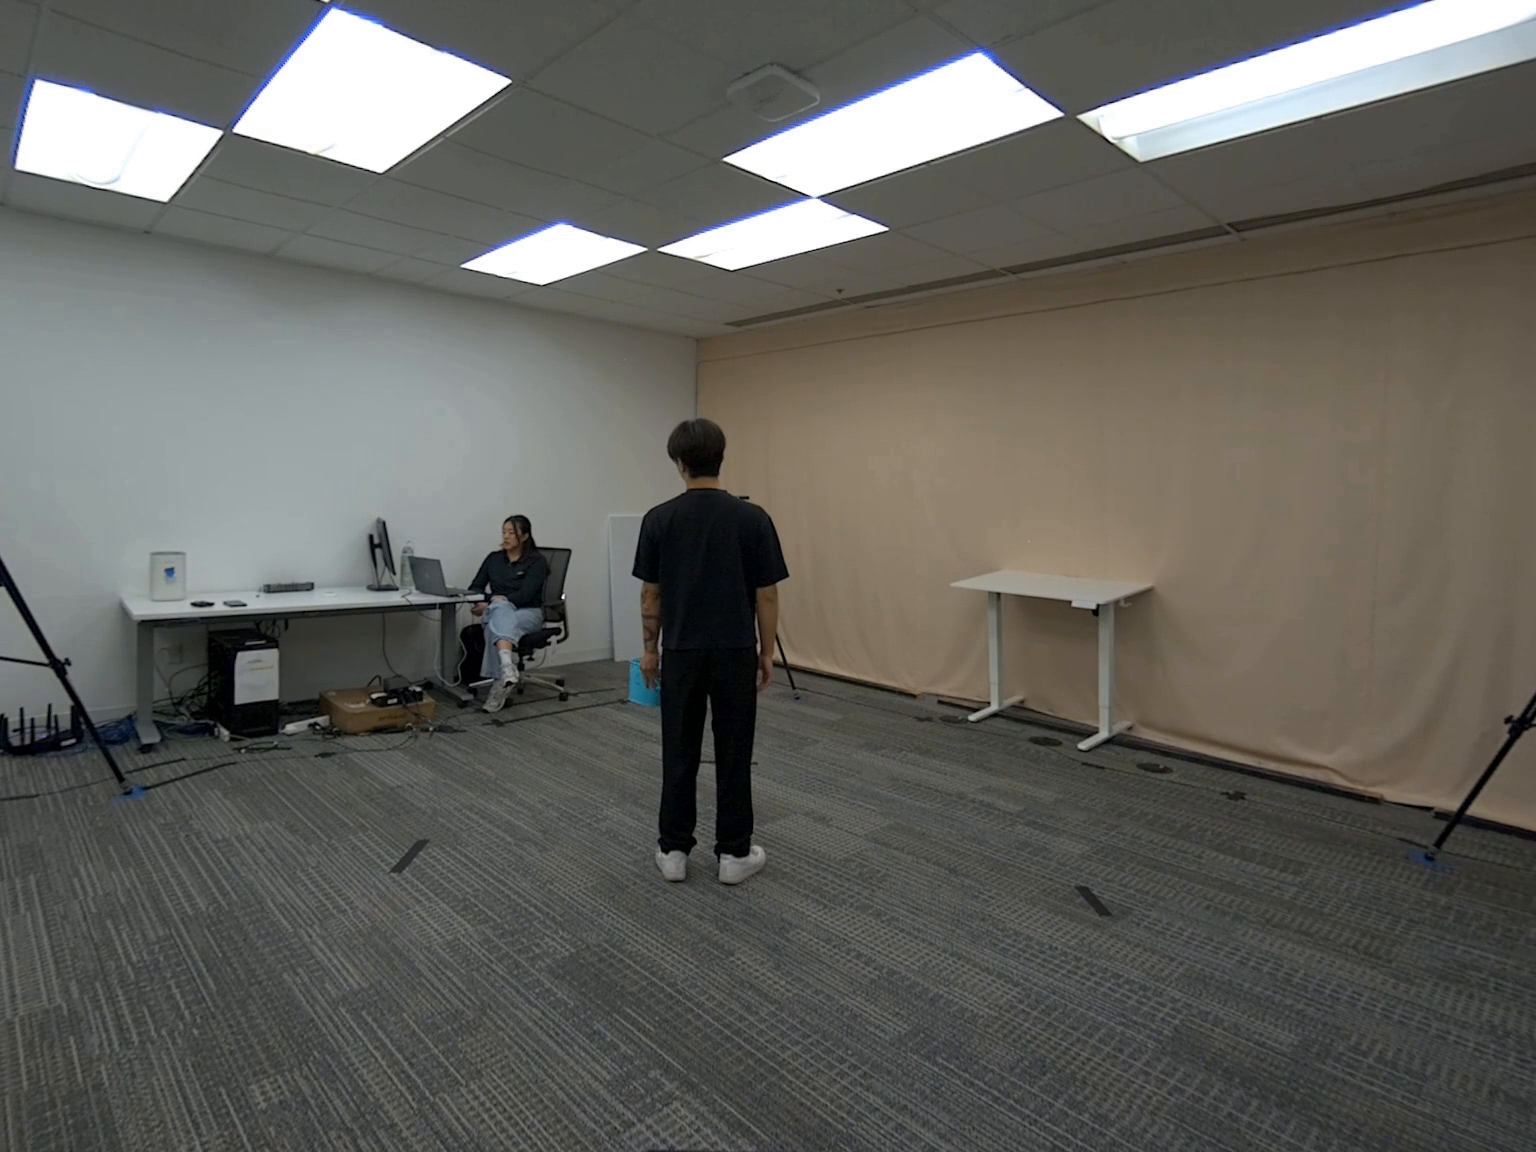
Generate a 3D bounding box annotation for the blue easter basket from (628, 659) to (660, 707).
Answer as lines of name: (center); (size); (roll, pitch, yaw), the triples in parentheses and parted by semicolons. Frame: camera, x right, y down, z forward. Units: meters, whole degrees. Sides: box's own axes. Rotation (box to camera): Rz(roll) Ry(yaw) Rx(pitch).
blue easter basket: (-0.452, 0.433, 3.379); (0.243, 0.156, 0.243); (10, -1, -1)
